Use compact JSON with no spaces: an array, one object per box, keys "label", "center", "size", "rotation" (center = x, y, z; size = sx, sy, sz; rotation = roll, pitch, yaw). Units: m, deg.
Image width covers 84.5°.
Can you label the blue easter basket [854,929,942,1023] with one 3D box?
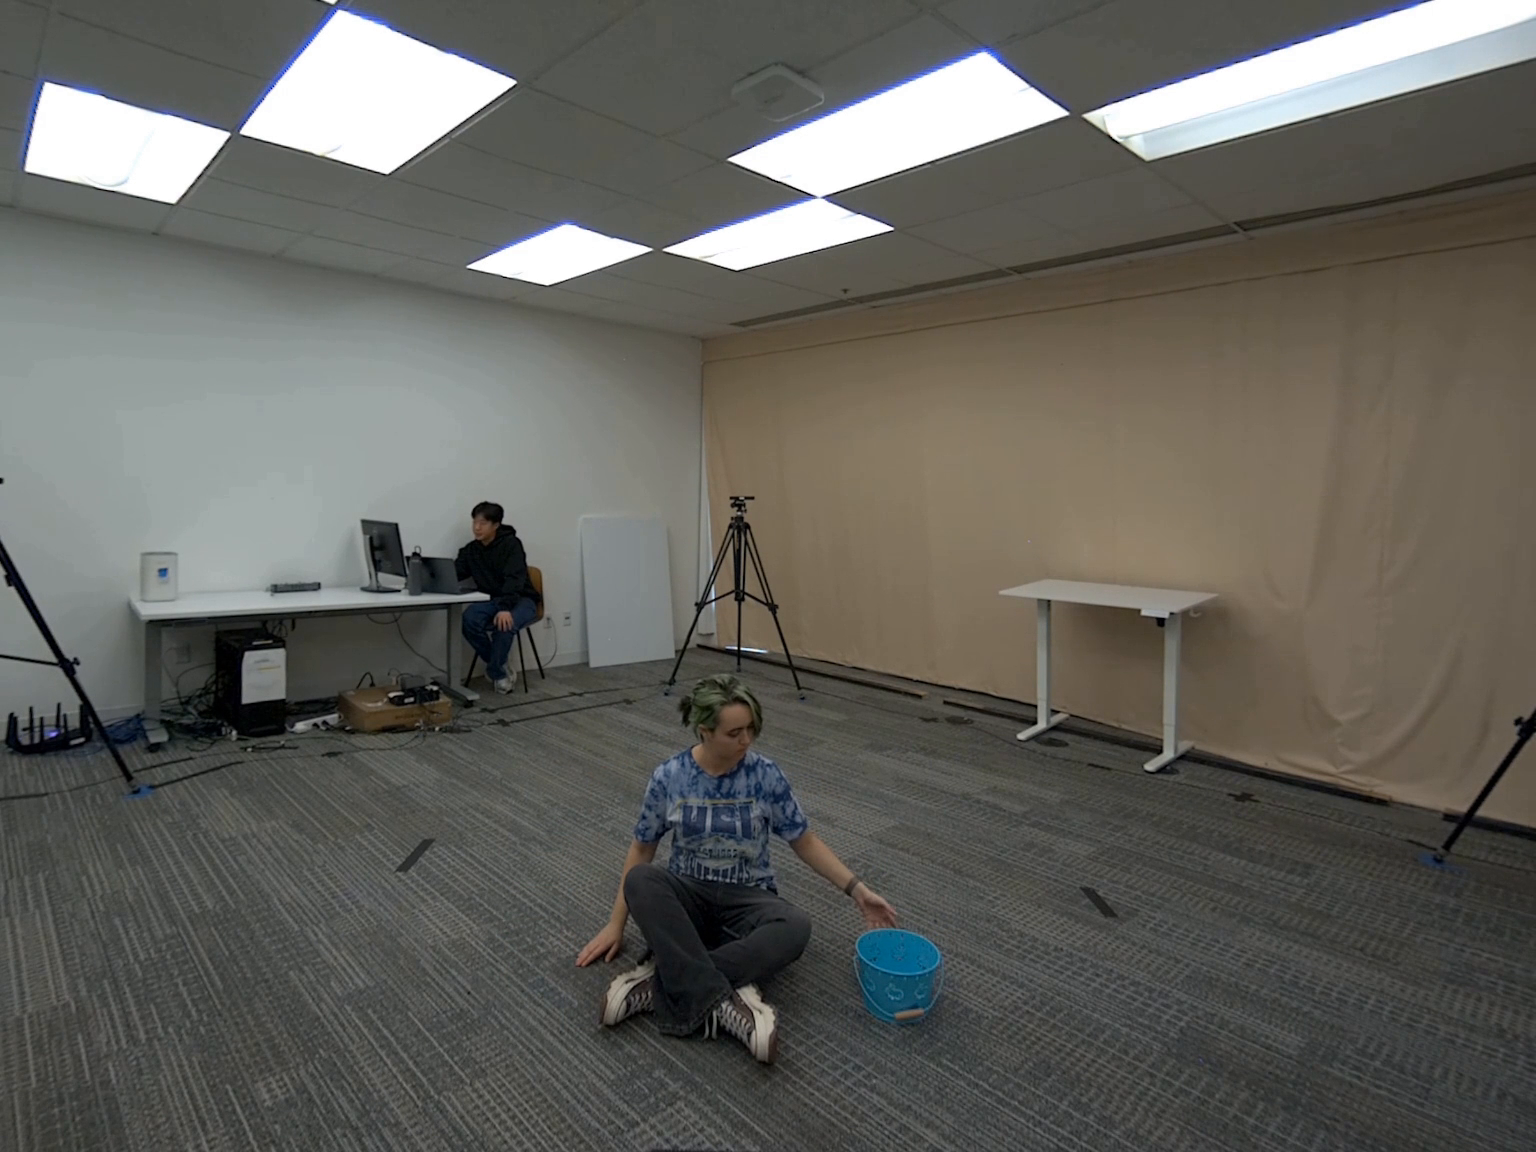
[{"label":"blue easter basket","center":[0.346,1.116,2.317],"size":[0.243,0.155,0.244],"rotation":[1,4,-1]}]
